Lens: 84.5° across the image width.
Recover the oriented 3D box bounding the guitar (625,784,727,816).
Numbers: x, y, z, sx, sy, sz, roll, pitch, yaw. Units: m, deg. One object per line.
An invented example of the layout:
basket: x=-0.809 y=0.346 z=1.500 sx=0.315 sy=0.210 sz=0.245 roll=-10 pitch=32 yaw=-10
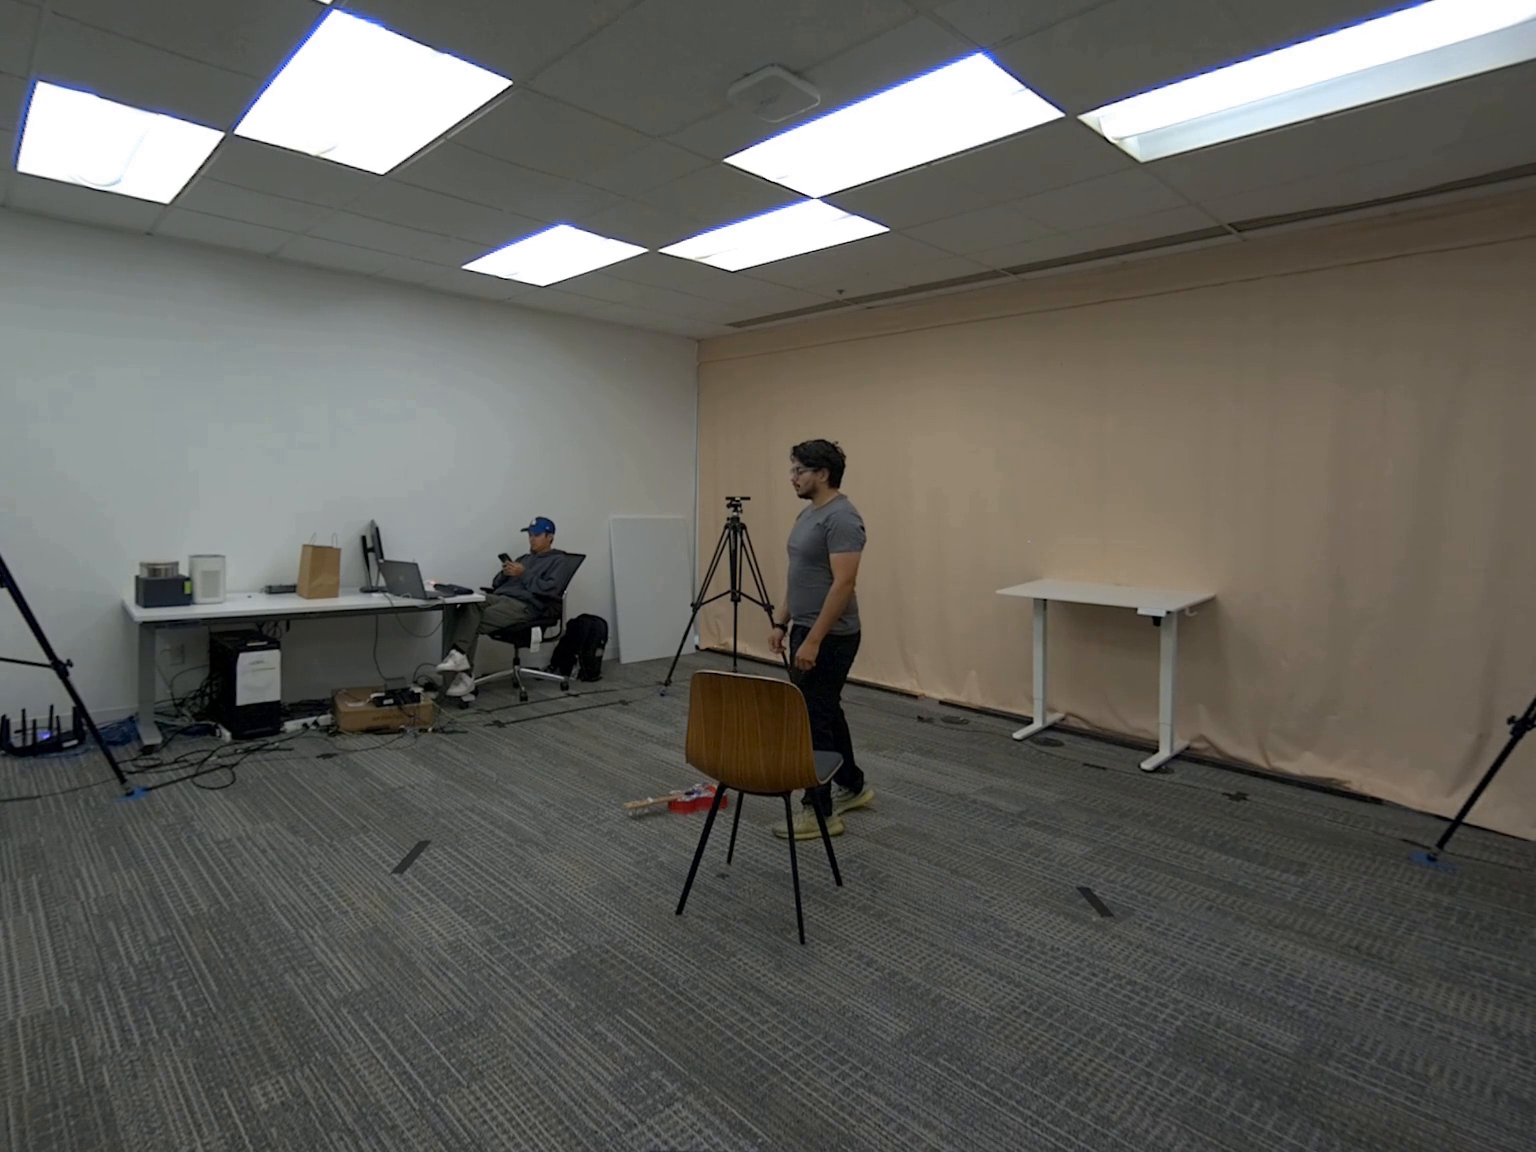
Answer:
guitar: x=-0.441 y=1.008 z=3.786 sx=0.489 sy=0.070 sz=0.197 roll=0 pitch=6 yaw=-25
